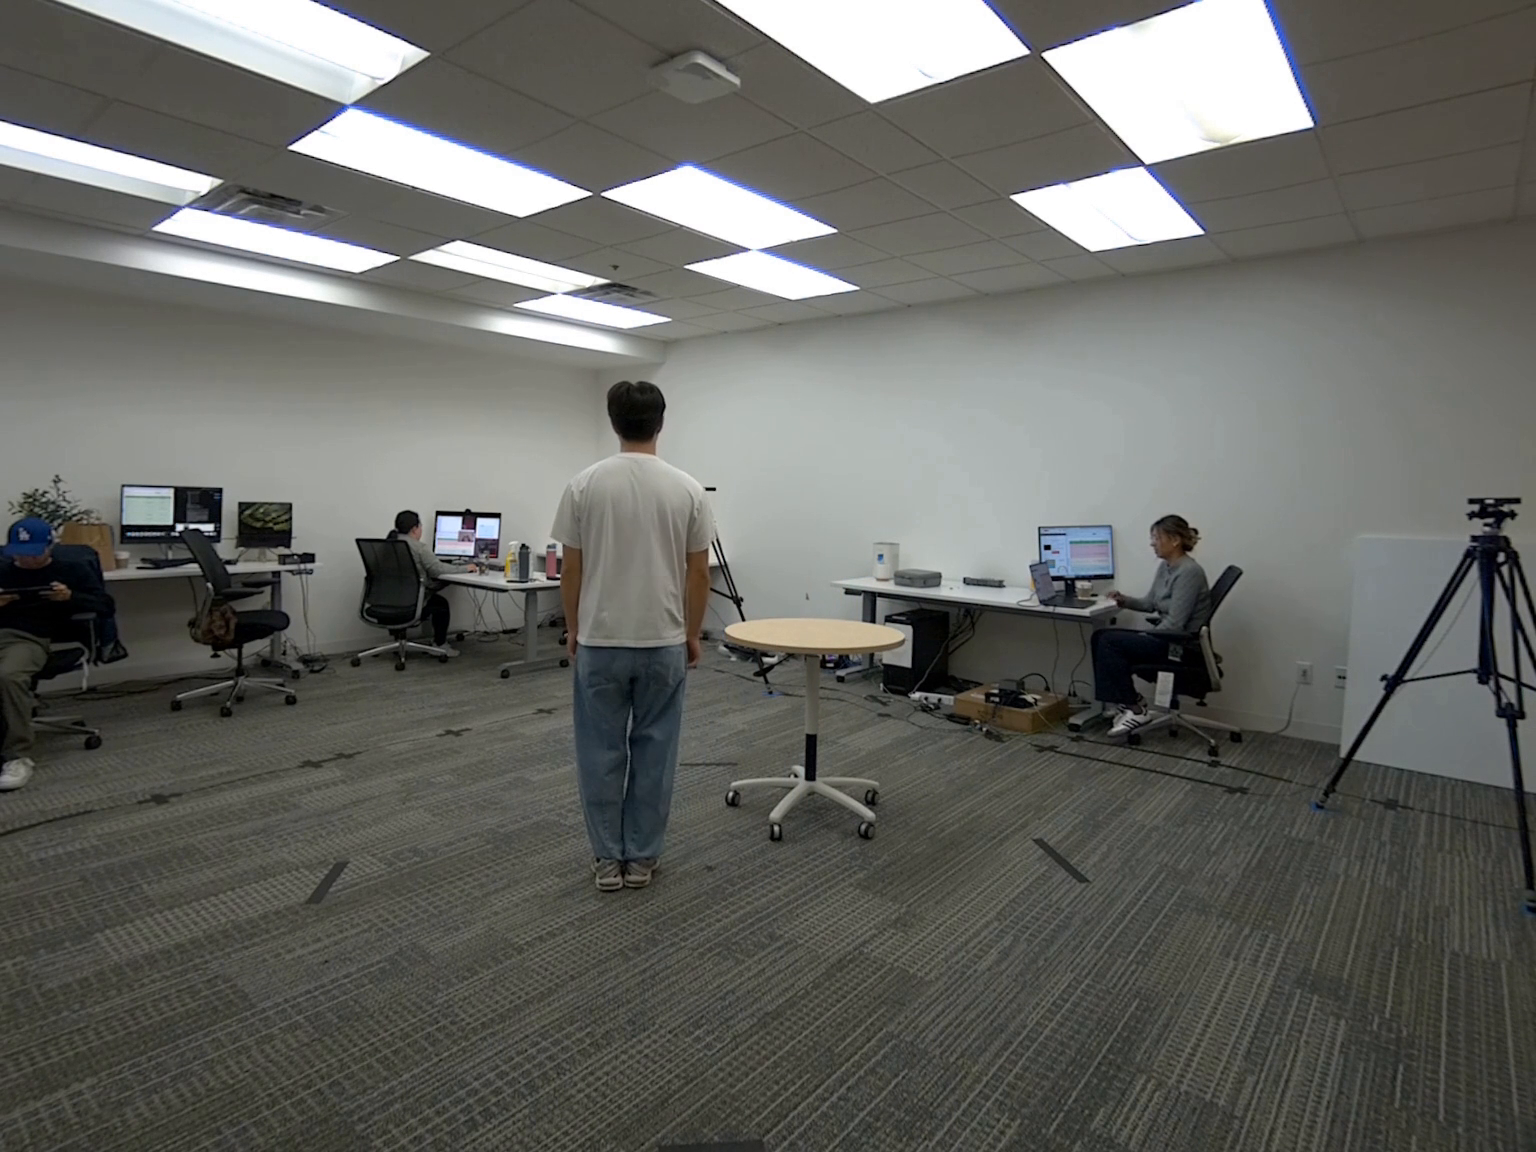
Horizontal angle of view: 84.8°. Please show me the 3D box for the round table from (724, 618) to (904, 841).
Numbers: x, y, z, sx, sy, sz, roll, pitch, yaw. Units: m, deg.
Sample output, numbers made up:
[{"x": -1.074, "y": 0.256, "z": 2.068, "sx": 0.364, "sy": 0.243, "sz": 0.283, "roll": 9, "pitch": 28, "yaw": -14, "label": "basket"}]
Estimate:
[{"x": 0.171, "y": 0.630, "z": 3.664, "sx": 0.763, "sy": 0.792, "sz": 0.767, "roll": 1, "pitch": 4, "yaw": -2, "label": "round table"}]
